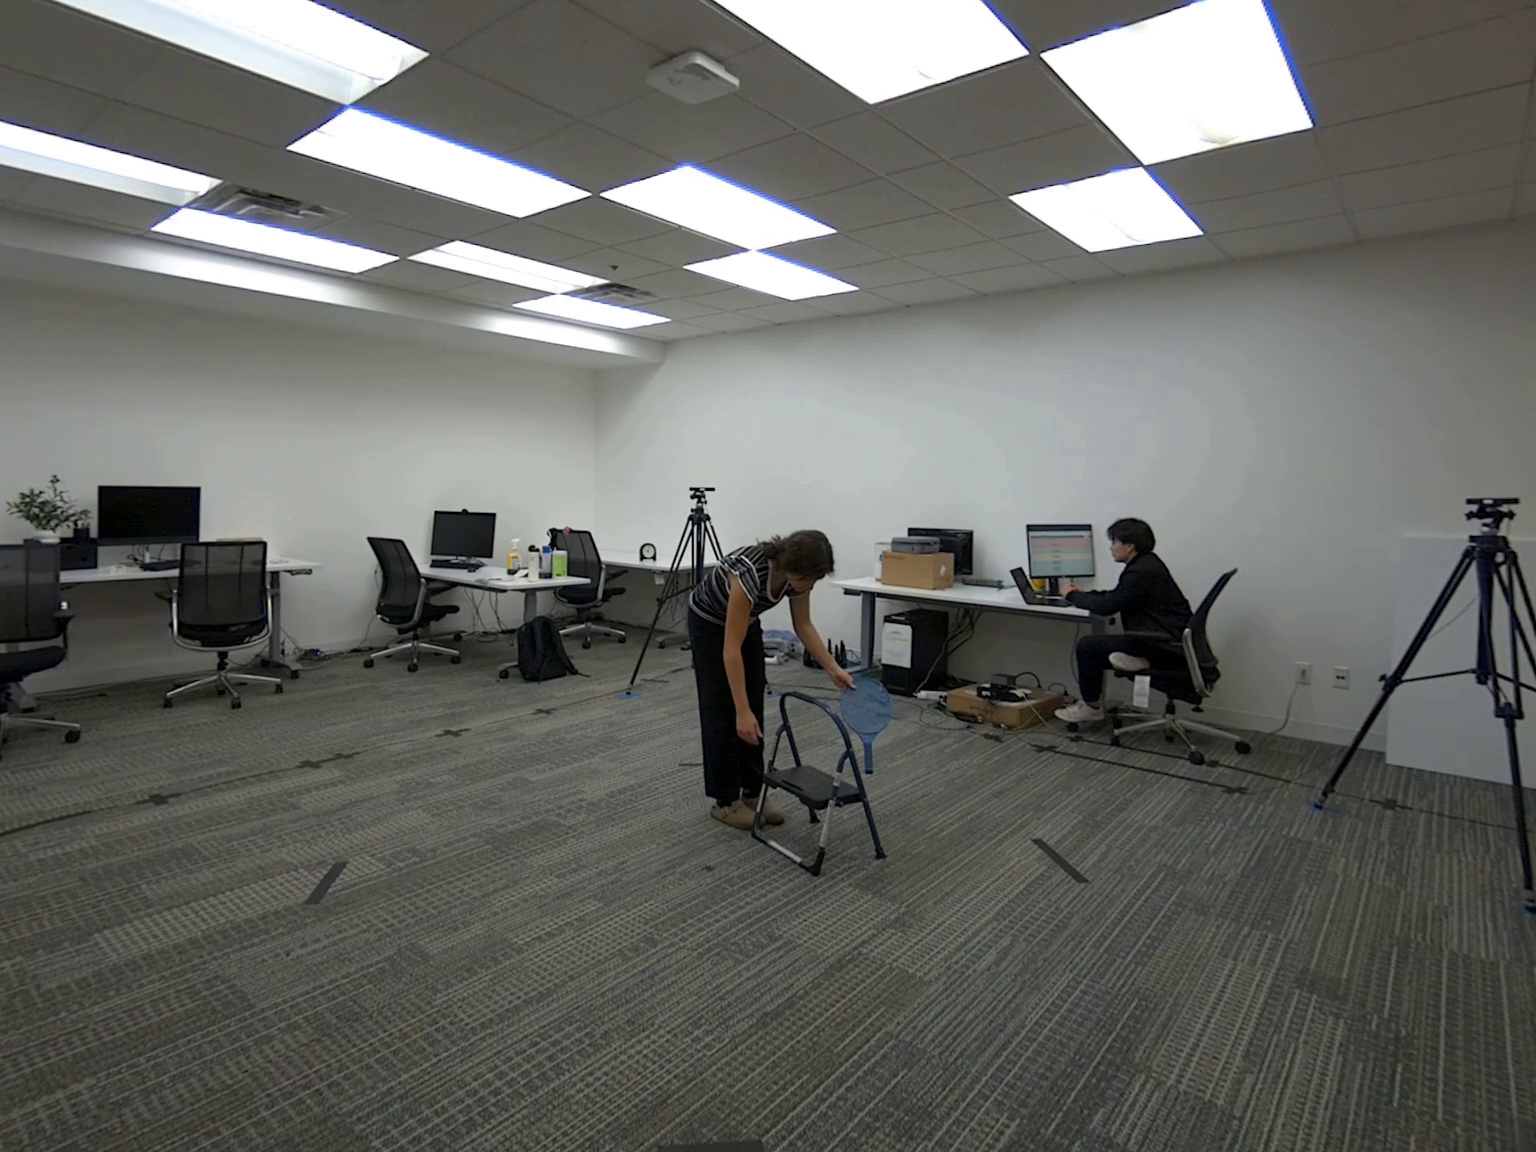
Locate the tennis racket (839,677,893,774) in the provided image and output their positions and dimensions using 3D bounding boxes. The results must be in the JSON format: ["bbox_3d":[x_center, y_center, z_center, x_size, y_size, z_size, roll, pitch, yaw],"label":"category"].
[{"bbox_3d":[0.382,0.593,3.478,0.215,0.443,0.031,1,-39,7],"label":"tennis racket"}]
